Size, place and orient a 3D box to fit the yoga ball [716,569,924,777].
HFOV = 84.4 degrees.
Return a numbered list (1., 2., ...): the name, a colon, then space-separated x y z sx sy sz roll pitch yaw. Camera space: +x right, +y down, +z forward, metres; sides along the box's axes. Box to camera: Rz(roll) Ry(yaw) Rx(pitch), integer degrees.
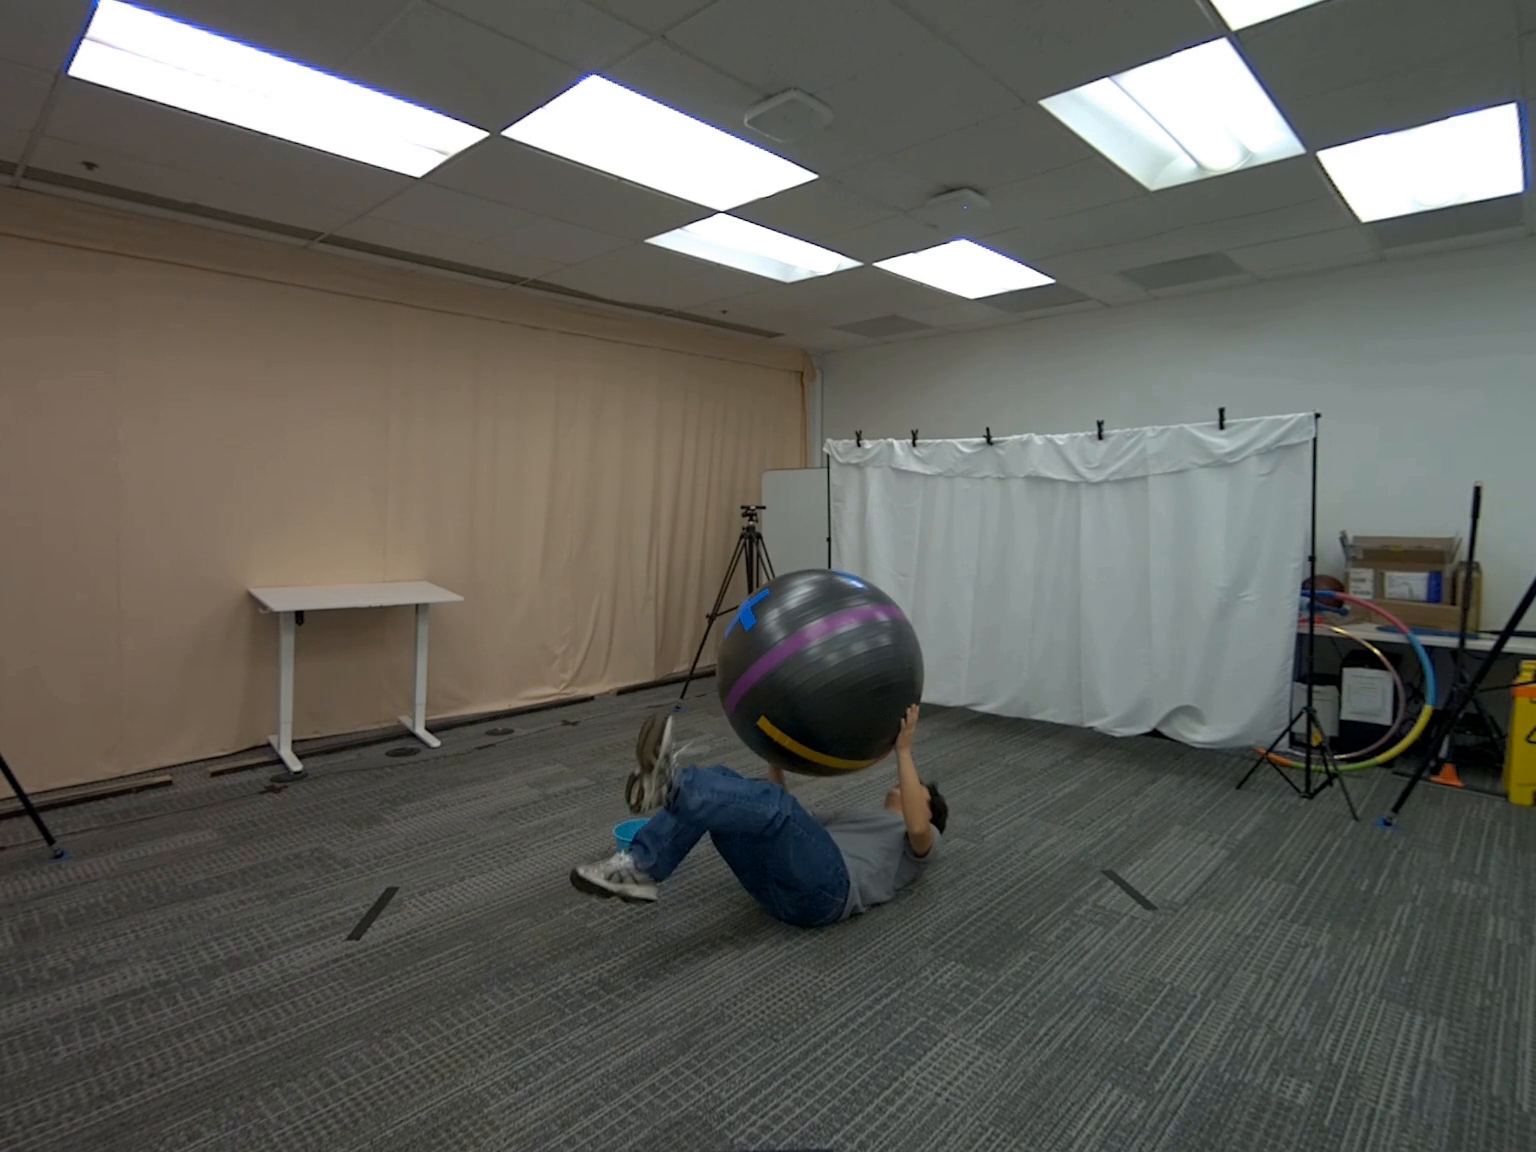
1. yoga ball: 0.189 0.359 3.126 0.757 0.756 0.760 0 4 -2
